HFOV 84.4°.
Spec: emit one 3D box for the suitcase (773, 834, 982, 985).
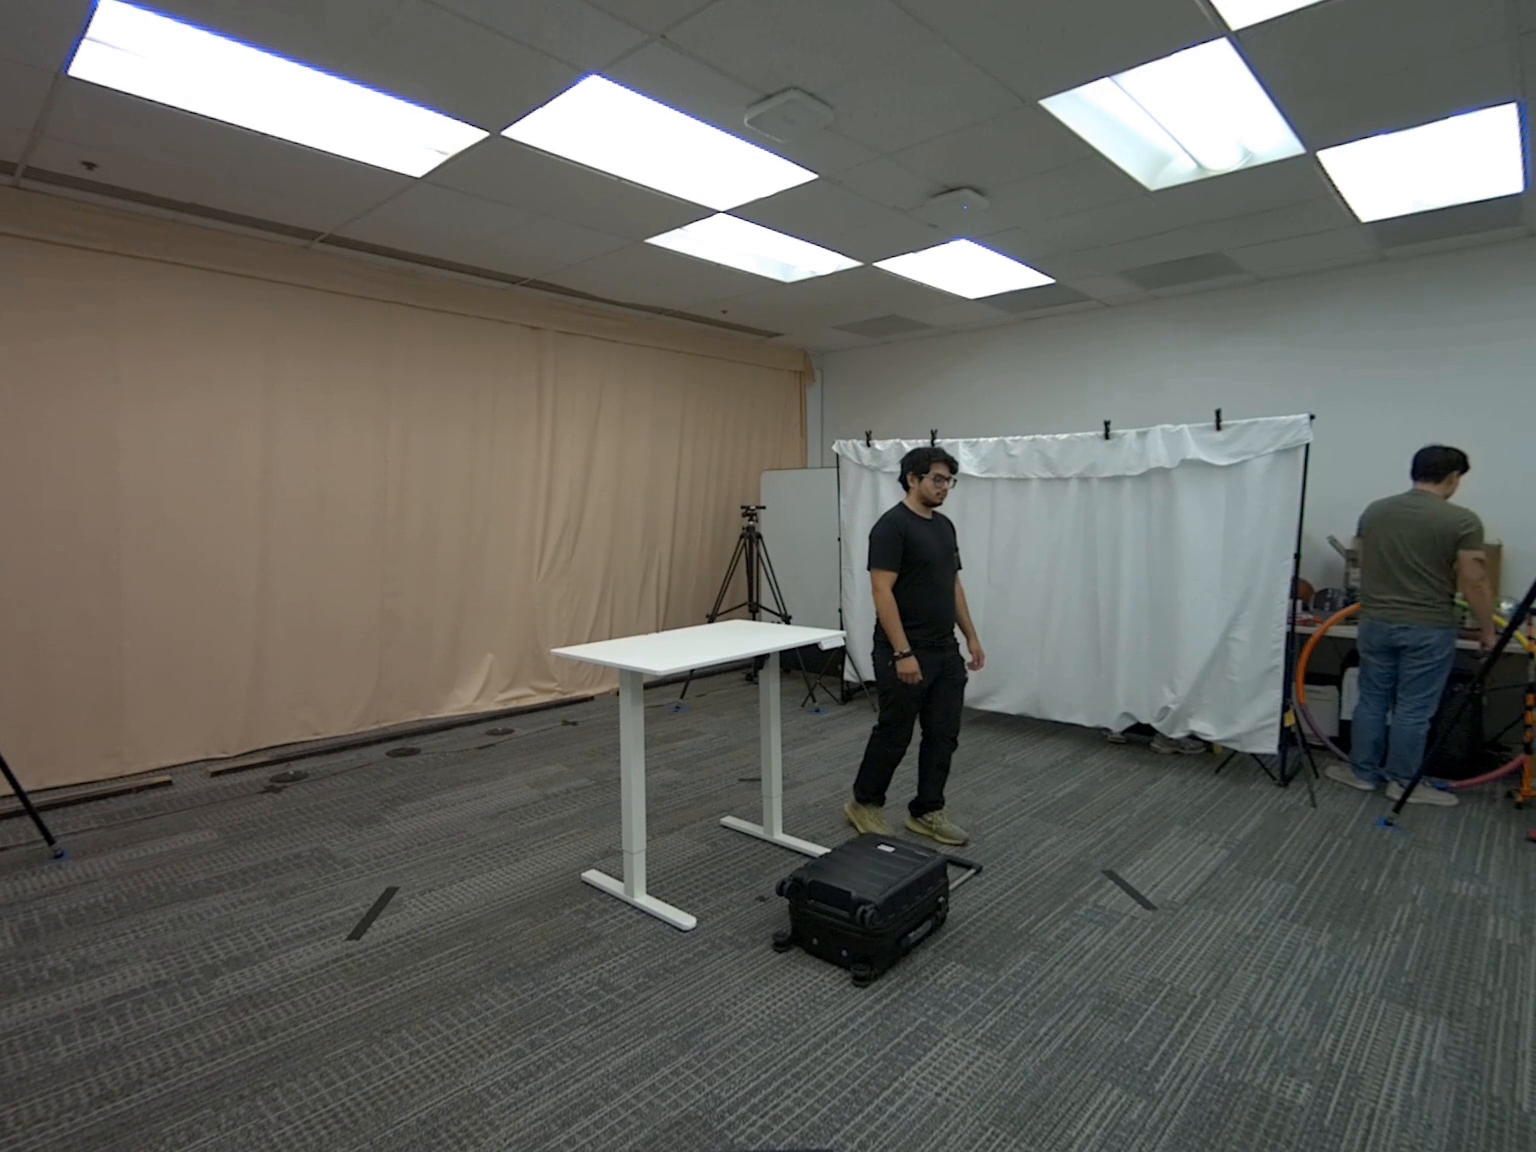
[{"bbox_3d":[0.455,1.026,2.873,0.396,0.256,0.950,2,6,39],"label":"suitcase"}]
